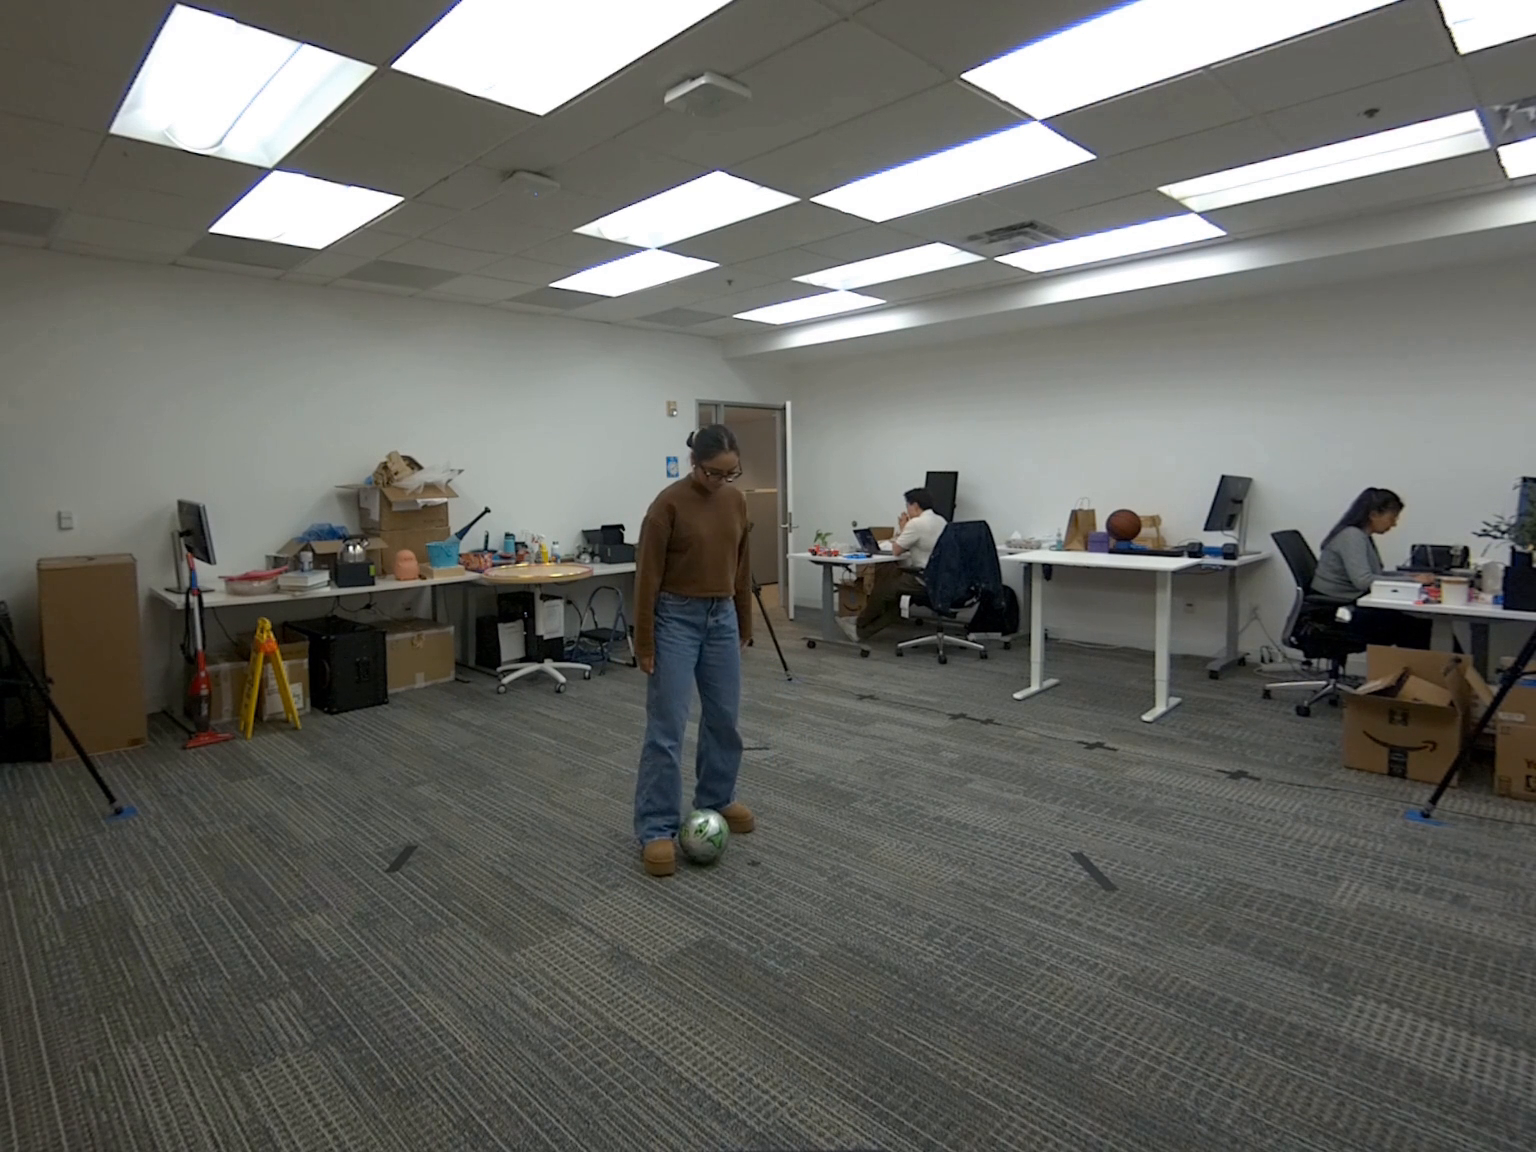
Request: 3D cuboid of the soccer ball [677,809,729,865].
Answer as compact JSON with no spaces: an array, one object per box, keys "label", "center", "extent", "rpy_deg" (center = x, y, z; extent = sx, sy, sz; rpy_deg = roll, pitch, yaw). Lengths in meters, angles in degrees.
[{"label":"soccer ball","center":[-0.231,0.952,3.126],"extent":[0.187,0.187,0.188],"rpy_deg":[-1,5,-2]}]
